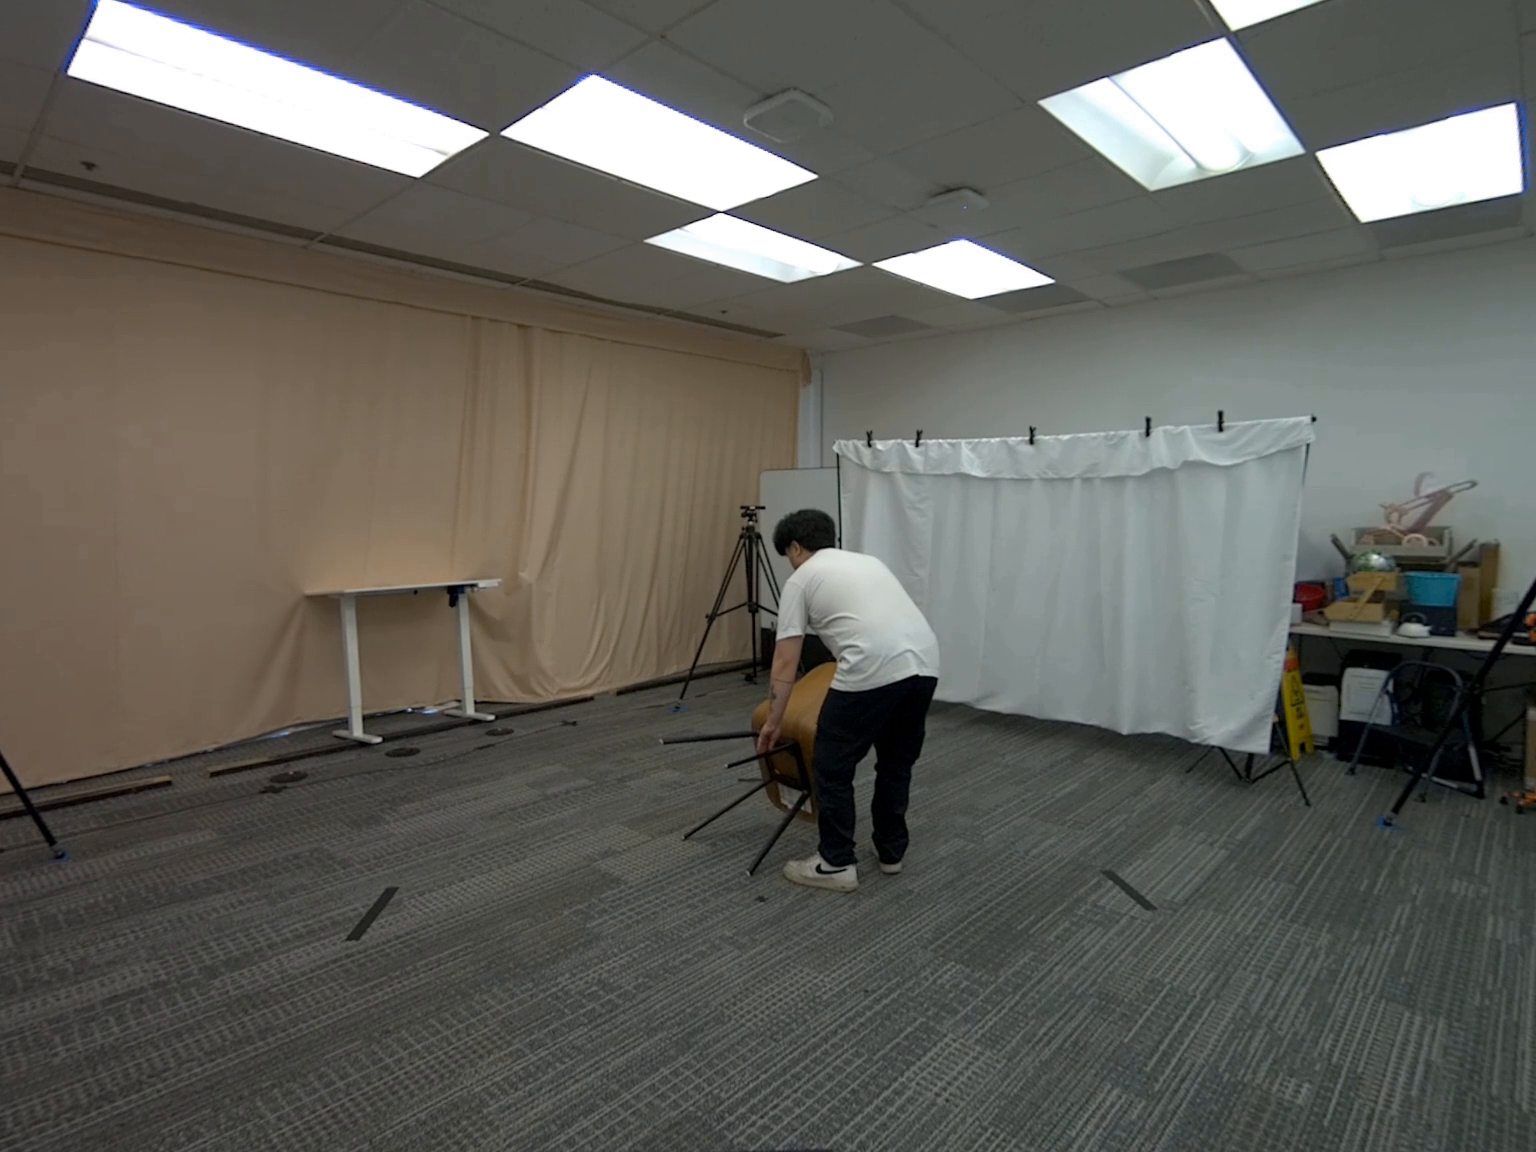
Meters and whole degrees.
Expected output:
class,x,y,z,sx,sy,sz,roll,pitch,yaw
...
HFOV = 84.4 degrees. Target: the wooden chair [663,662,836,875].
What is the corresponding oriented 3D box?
class,x,y,z,sx,sy,sz,roll,pitch,yaw
wooden chair,0.064,0.783,3.545,0.860,0.517,0.493,-25,17,-36
